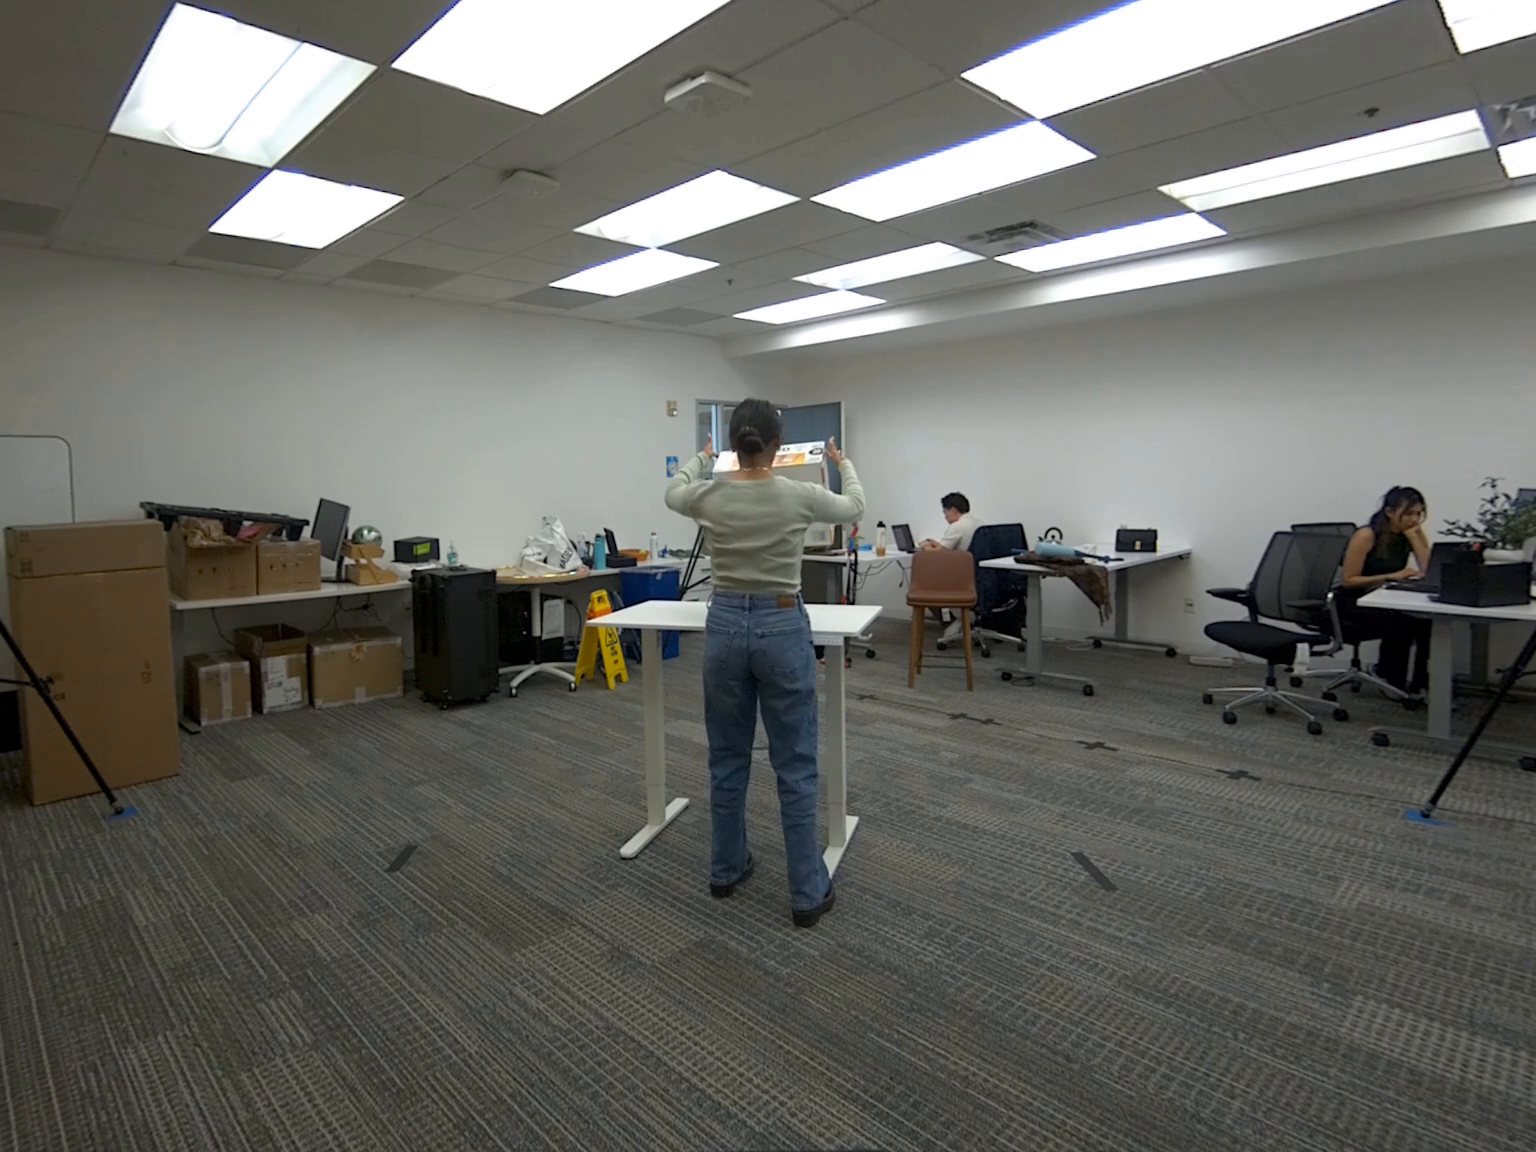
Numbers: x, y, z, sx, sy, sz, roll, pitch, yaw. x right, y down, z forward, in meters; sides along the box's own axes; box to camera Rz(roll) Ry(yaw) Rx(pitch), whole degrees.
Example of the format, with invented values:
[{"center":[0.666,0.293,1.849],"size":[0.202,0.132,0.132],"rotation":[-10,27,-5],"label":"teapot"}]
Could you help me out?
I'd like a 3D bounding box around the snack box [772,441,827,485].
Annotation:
[{"center":[0.037,-0.299,3.253],"size":[0.409,0.332,0.209],"rotation":[-6,27,11],"label":"snack box"}]
